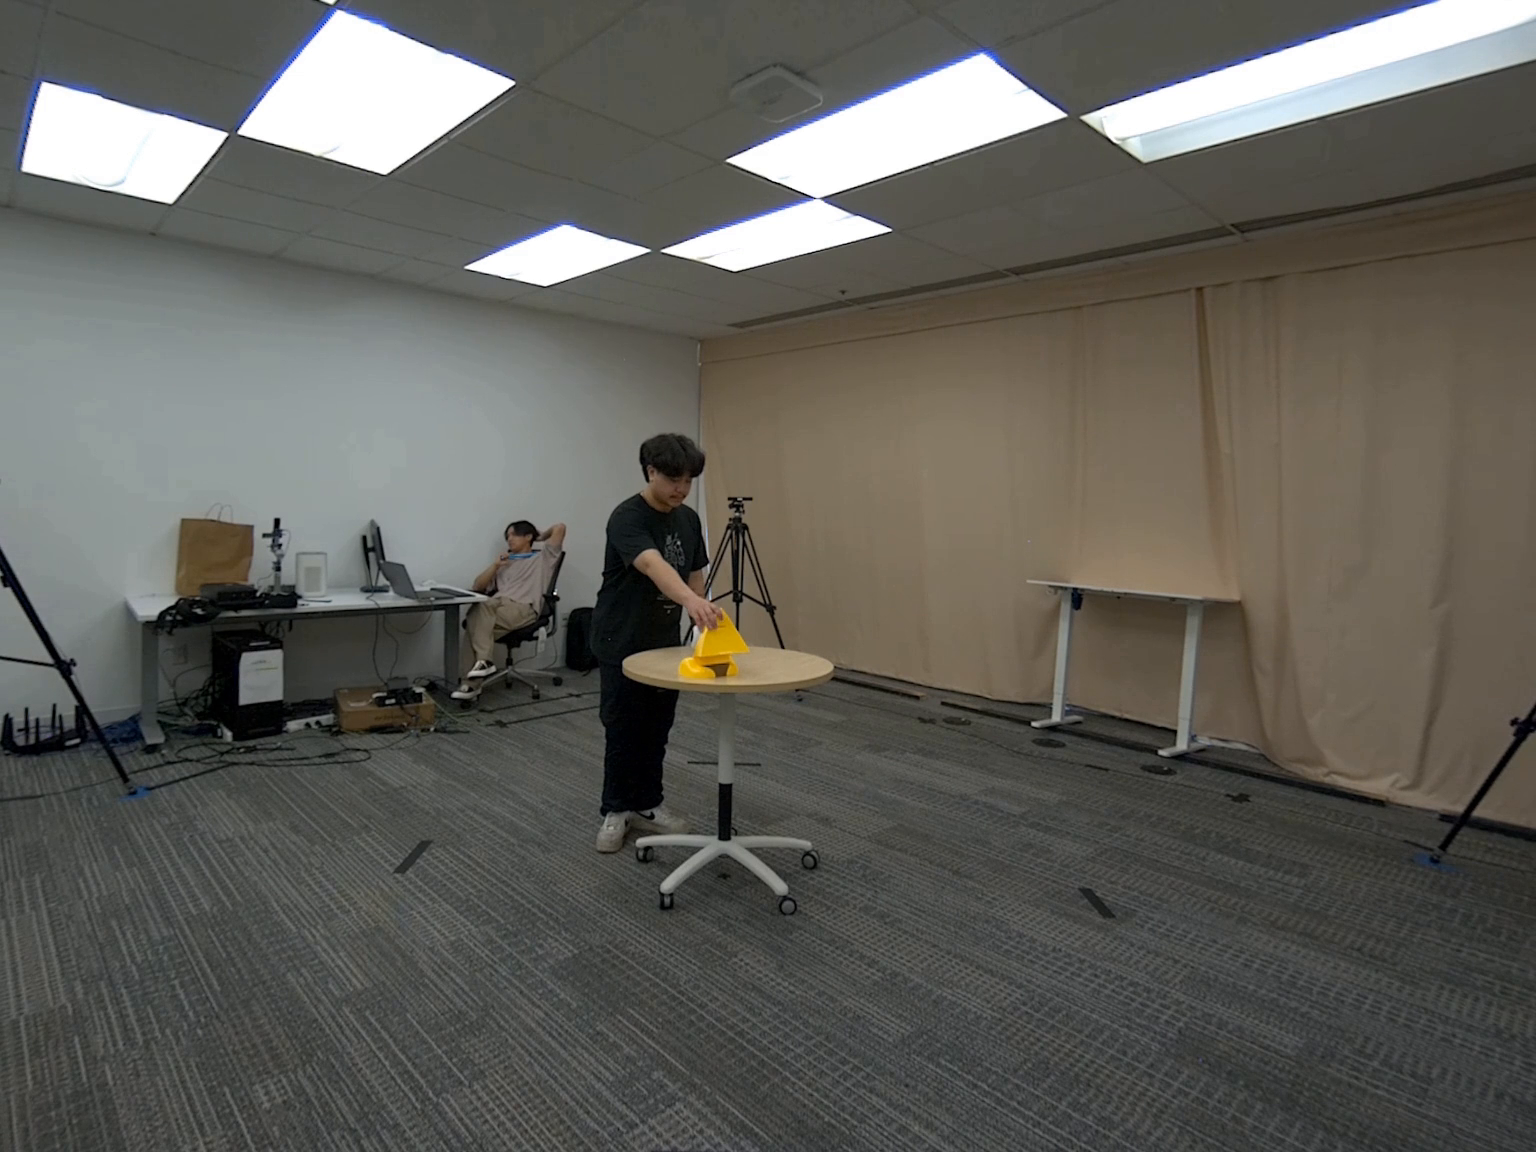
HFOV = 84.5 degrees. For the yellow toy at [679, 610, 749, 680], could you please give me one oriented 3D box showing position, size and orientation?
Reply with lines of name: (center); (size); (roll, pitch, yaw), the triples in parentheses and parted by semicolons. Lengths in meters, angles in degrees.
yellow toy: (-0.204, 0.219, 2.866); (0.200, 0.230, 0.198); (-2, 4, -36)
